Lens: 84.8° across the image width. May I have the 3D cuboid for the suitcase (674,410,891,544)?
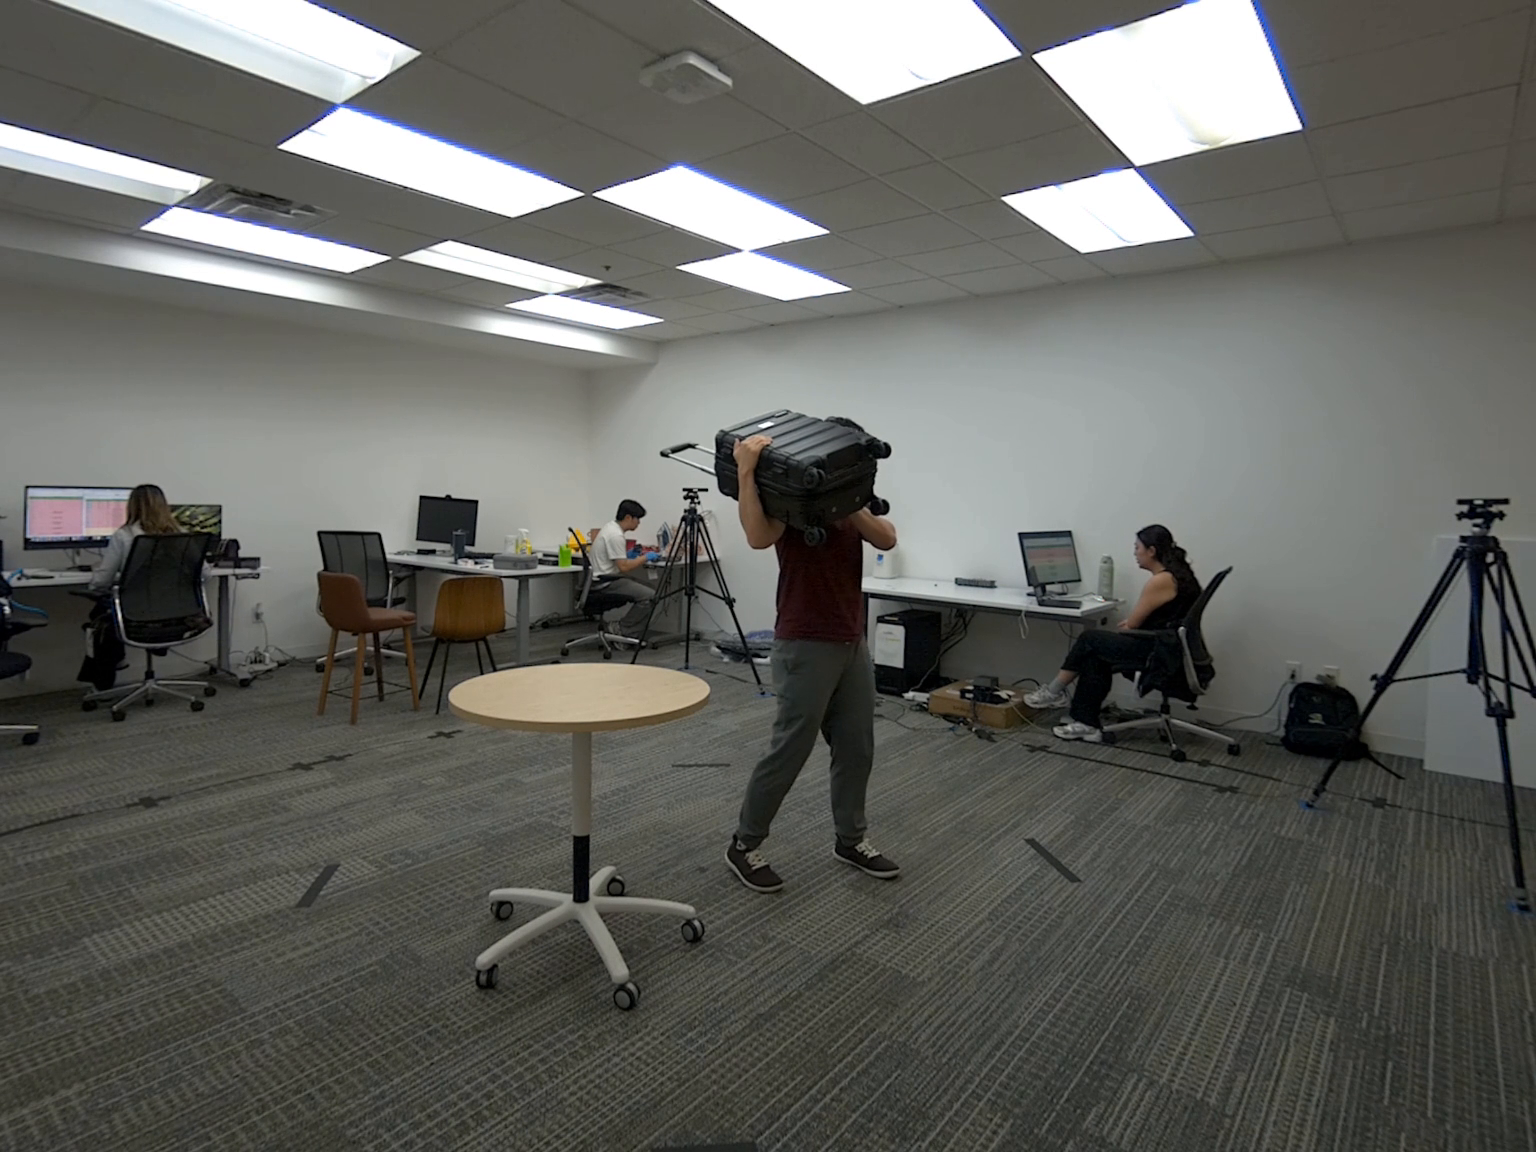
[{"bbox_3d":[-0.050,-0.445,3.003,0.378,0.250,1.020,-24,35,-32],"label":"suitcase"}]
